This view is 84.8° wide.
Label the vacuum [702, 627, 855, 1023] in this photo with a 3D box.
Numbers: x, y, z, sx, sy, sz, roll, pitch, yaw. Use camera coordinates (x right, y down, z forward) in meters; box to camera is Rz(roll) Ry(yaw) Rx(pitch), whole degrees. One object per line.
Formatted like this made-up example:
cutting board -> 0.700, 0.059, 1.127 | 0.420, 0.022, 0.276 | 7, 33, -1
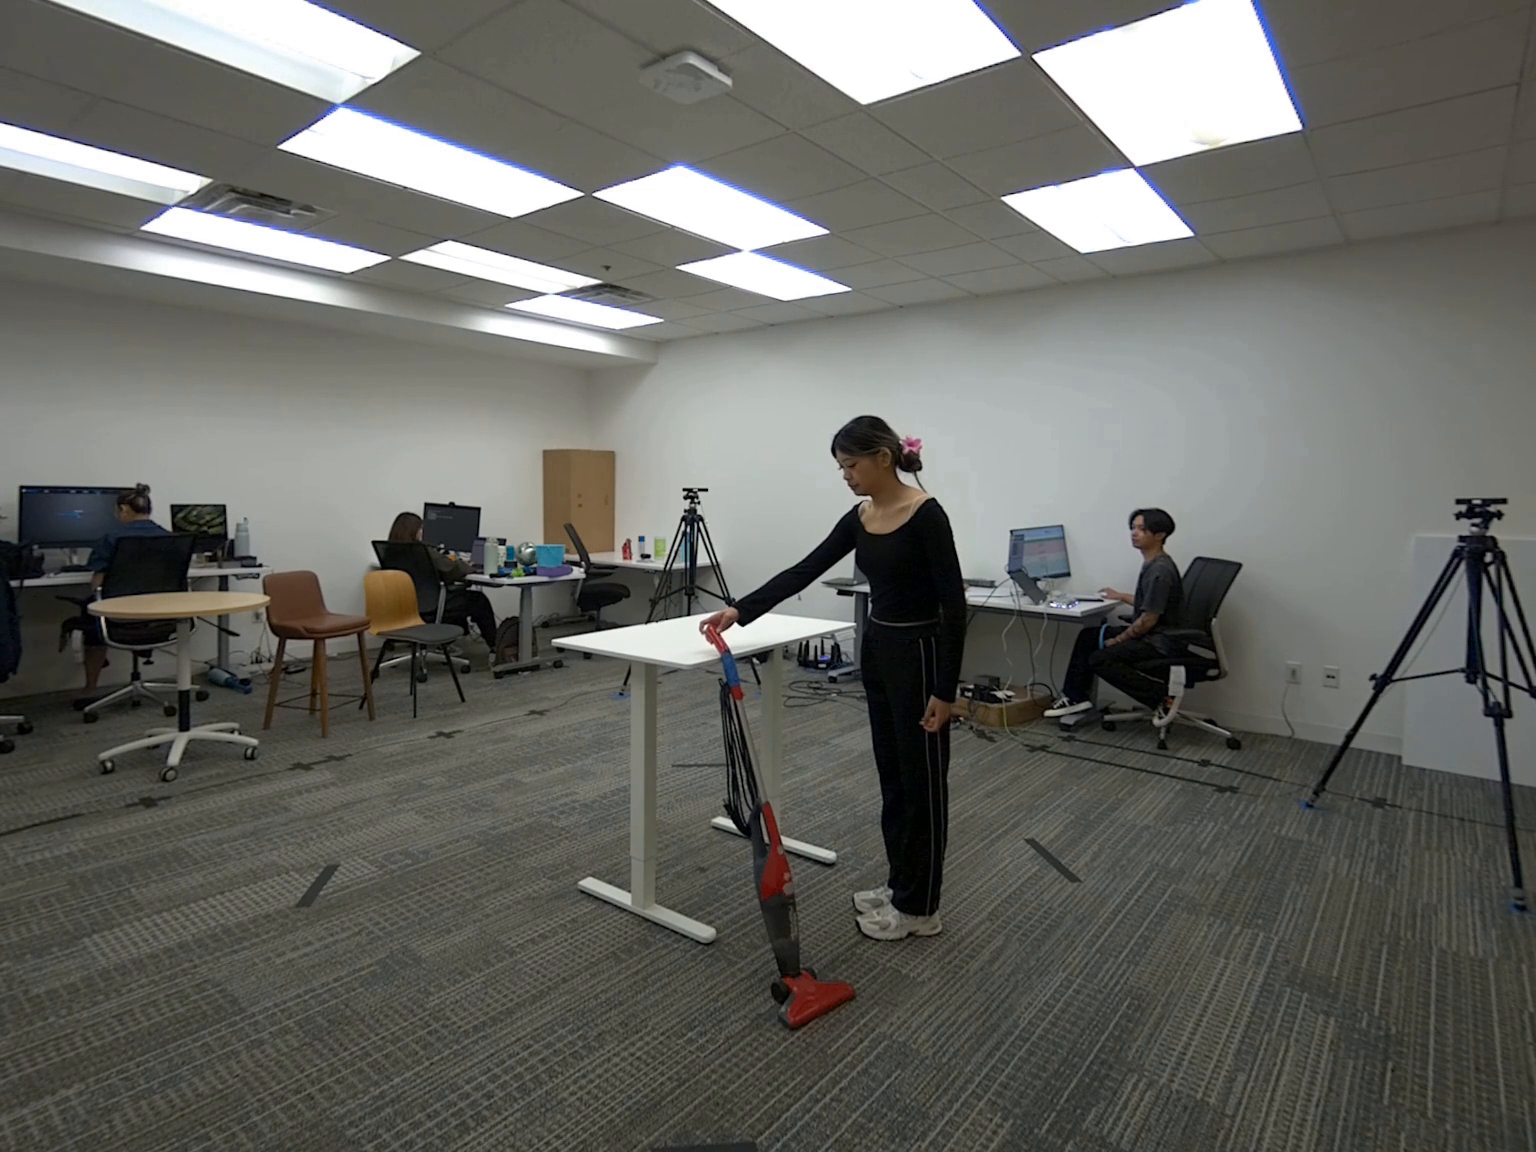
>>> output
vacuum -> -0.048, 0.662, 2.457 | 0.245, 1.069, 0.145 | -4, -21, -41
